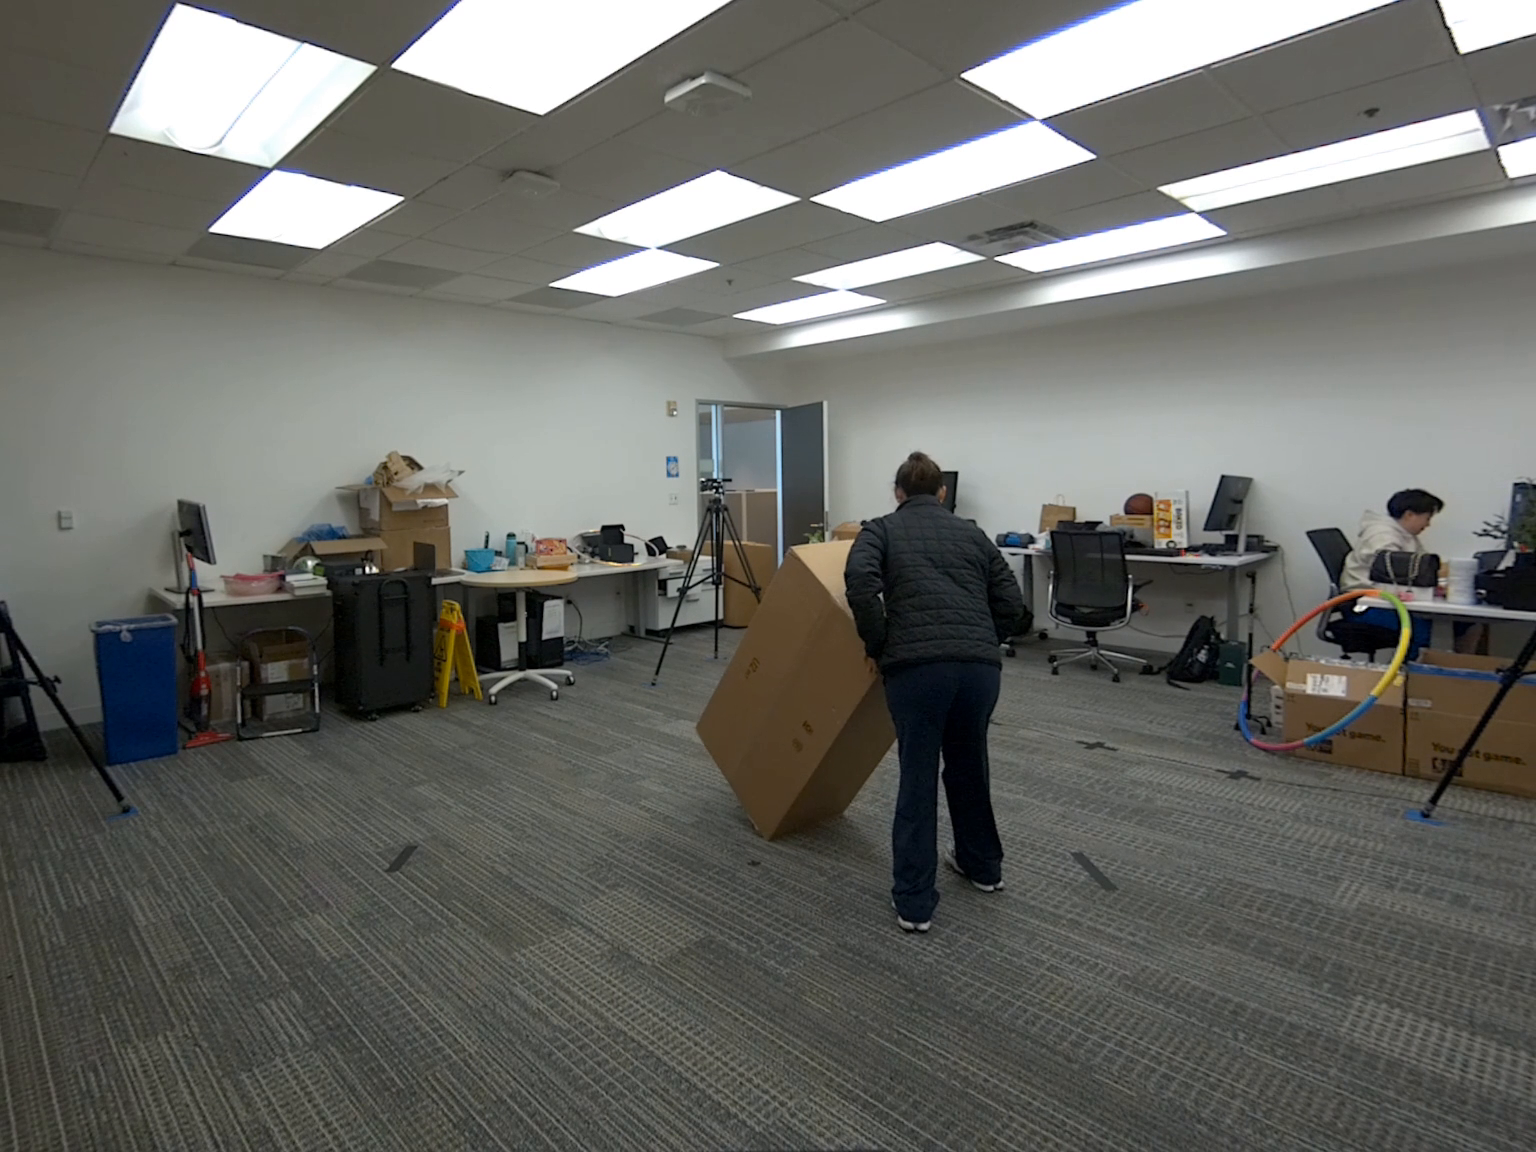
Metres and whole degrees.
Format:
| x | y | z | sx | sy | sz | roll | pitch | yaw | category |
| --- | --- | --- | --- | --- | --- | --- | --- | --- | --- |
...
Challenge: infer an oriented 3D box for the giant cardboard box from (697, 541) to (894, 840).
| x | y | z | sx | sy | sz | roll | pitch | yaw | category |
| --- | --- | --- | --- | --- | --- | --- | --- | --- | --- |
| 0.195 | 0.440 | 3.329 | 0.435 | 1.016 | 0.606 | -4 | 43 | -40 | giant cardboard box |
